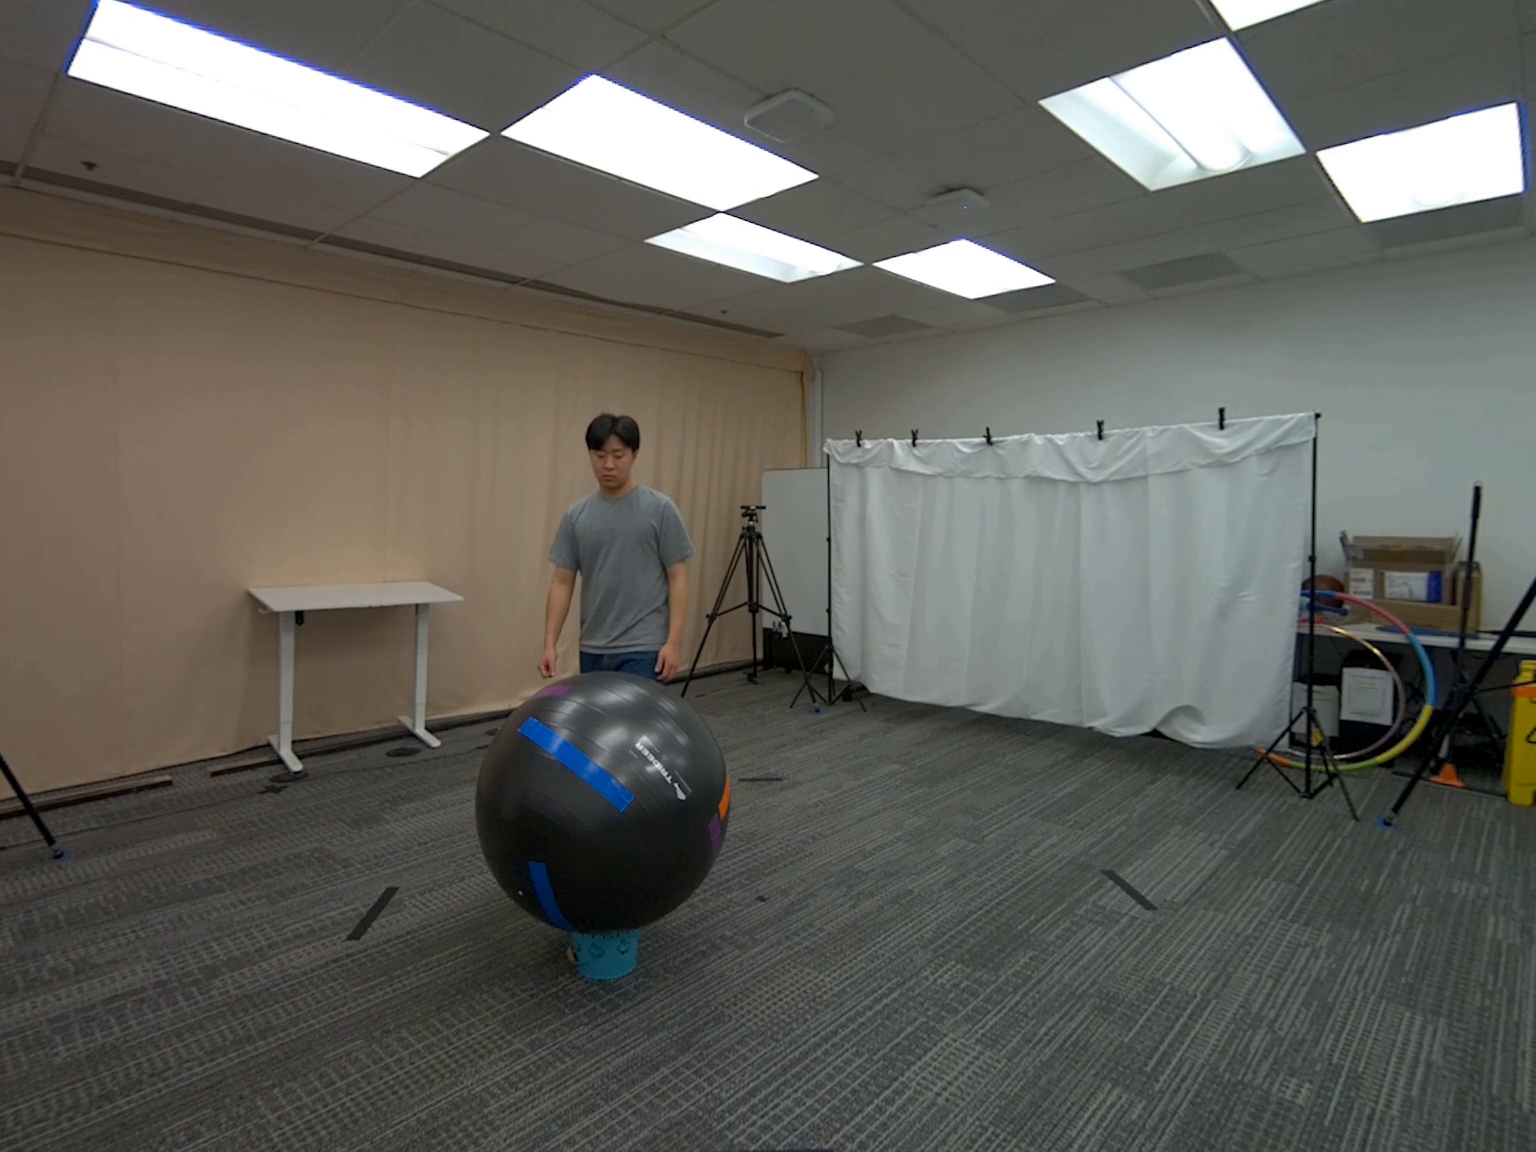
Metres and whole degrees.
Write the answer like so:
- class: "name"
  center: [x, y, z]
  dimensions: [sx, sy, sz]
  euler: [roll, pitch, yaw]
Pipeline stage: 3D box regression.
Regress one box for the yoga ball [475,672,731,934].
- class: "yoga ball"
  center: [-0.493, 0.675, 2.541]
  dimensions: [0.757, 0.756, 0.760]
  euler: [0, 4, -2]
